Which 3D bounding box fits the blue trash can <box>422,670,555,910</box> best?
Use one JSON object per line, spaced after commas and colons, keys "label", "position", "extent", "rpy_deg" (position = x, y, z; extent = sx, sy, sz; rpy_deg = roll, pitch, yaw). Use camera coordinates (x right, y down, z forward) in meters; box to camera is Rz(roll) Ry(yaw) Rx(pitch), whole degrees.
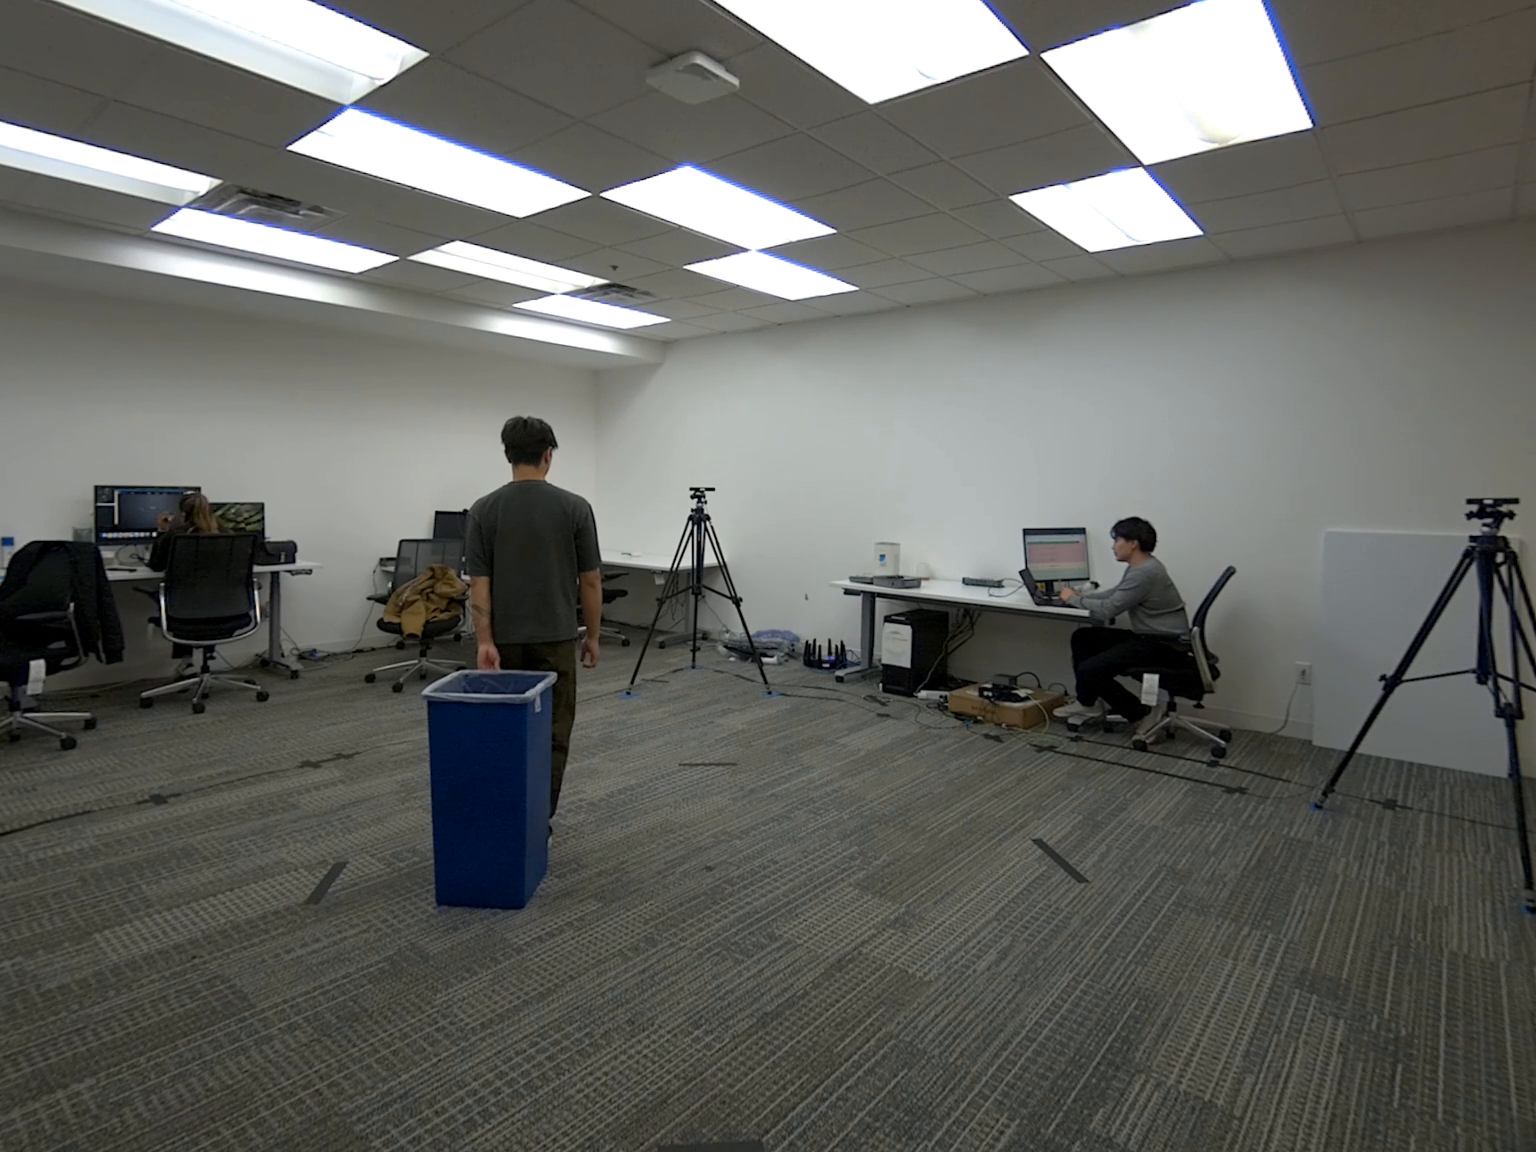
{"label": "blue trash can", "position": [-0.970, 0.715, 2.916], "extent": [0.375, 0.712, 0.378], "rpy_deg": [1, 3, 2]}
